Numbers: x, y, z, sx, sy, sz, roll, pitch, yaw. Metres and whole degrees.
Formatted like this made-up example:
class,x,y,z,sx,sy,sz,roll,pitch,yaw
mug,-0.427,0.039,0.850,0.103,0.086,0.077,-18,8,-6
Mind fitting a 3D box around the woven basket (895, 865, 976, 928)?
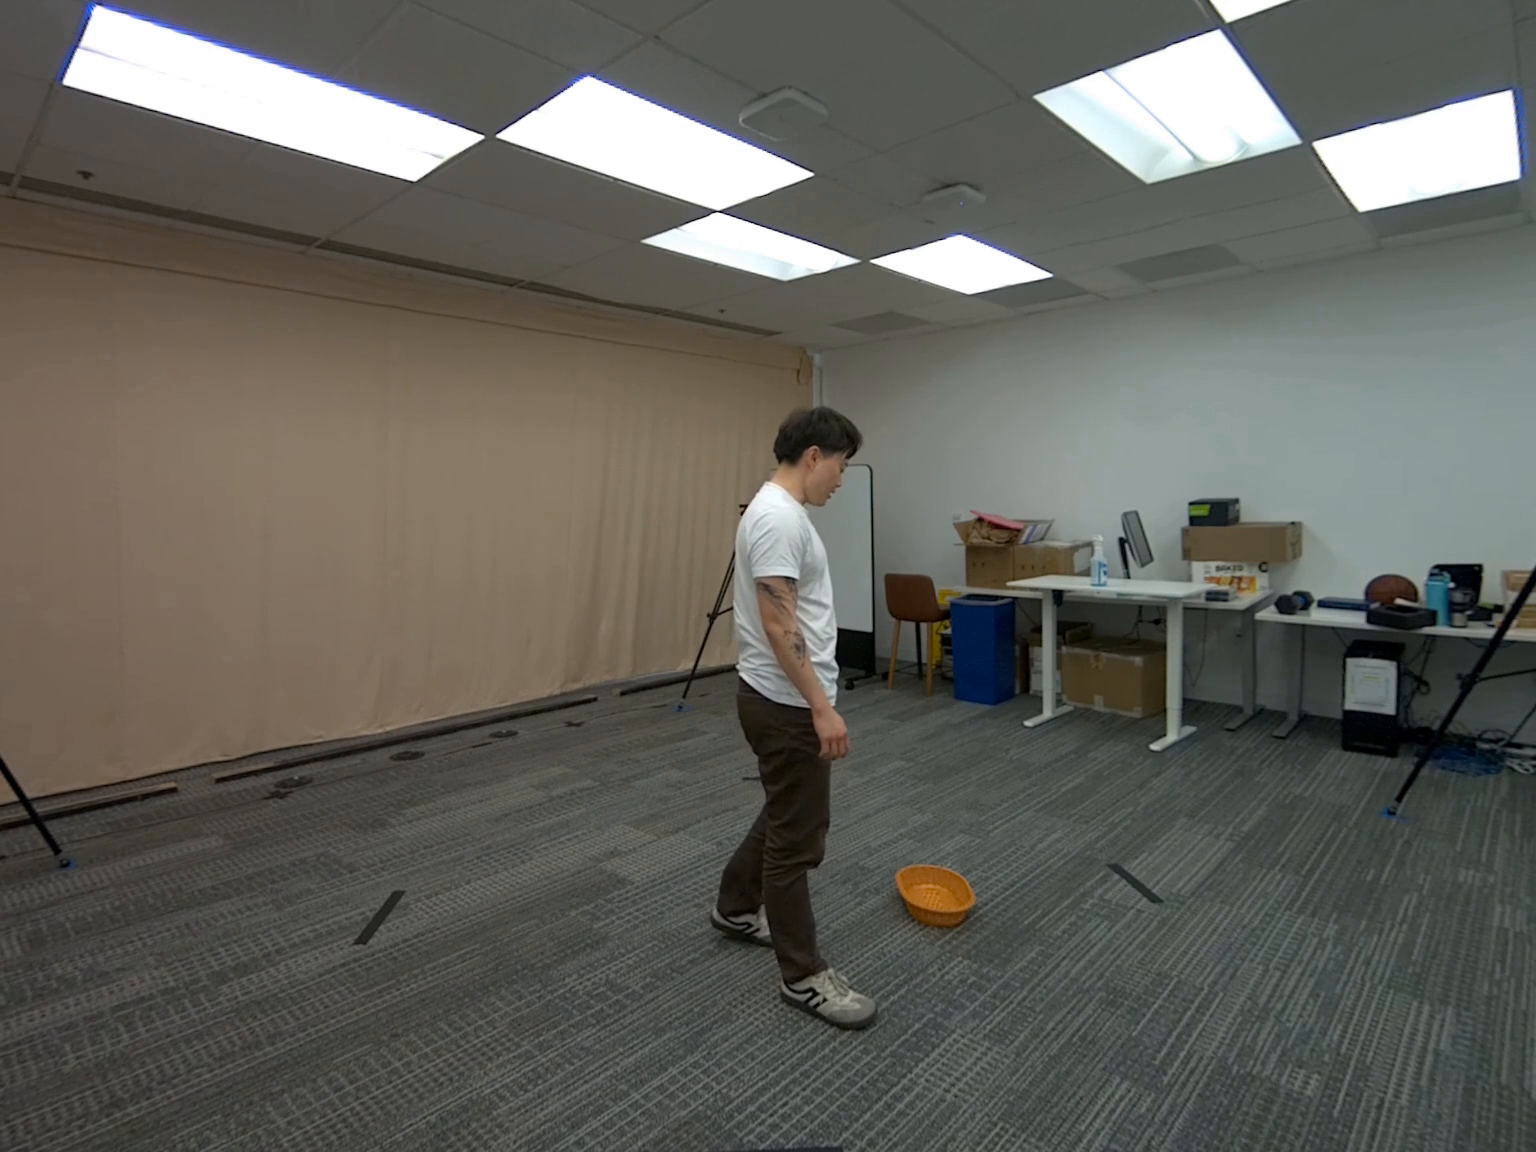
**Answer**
class,x,y,z,sx,sy,sz,roll,pitch,yaw
woven basket,0.572,1.099,2.890,0.253,0.073,0.350,0,5,1
